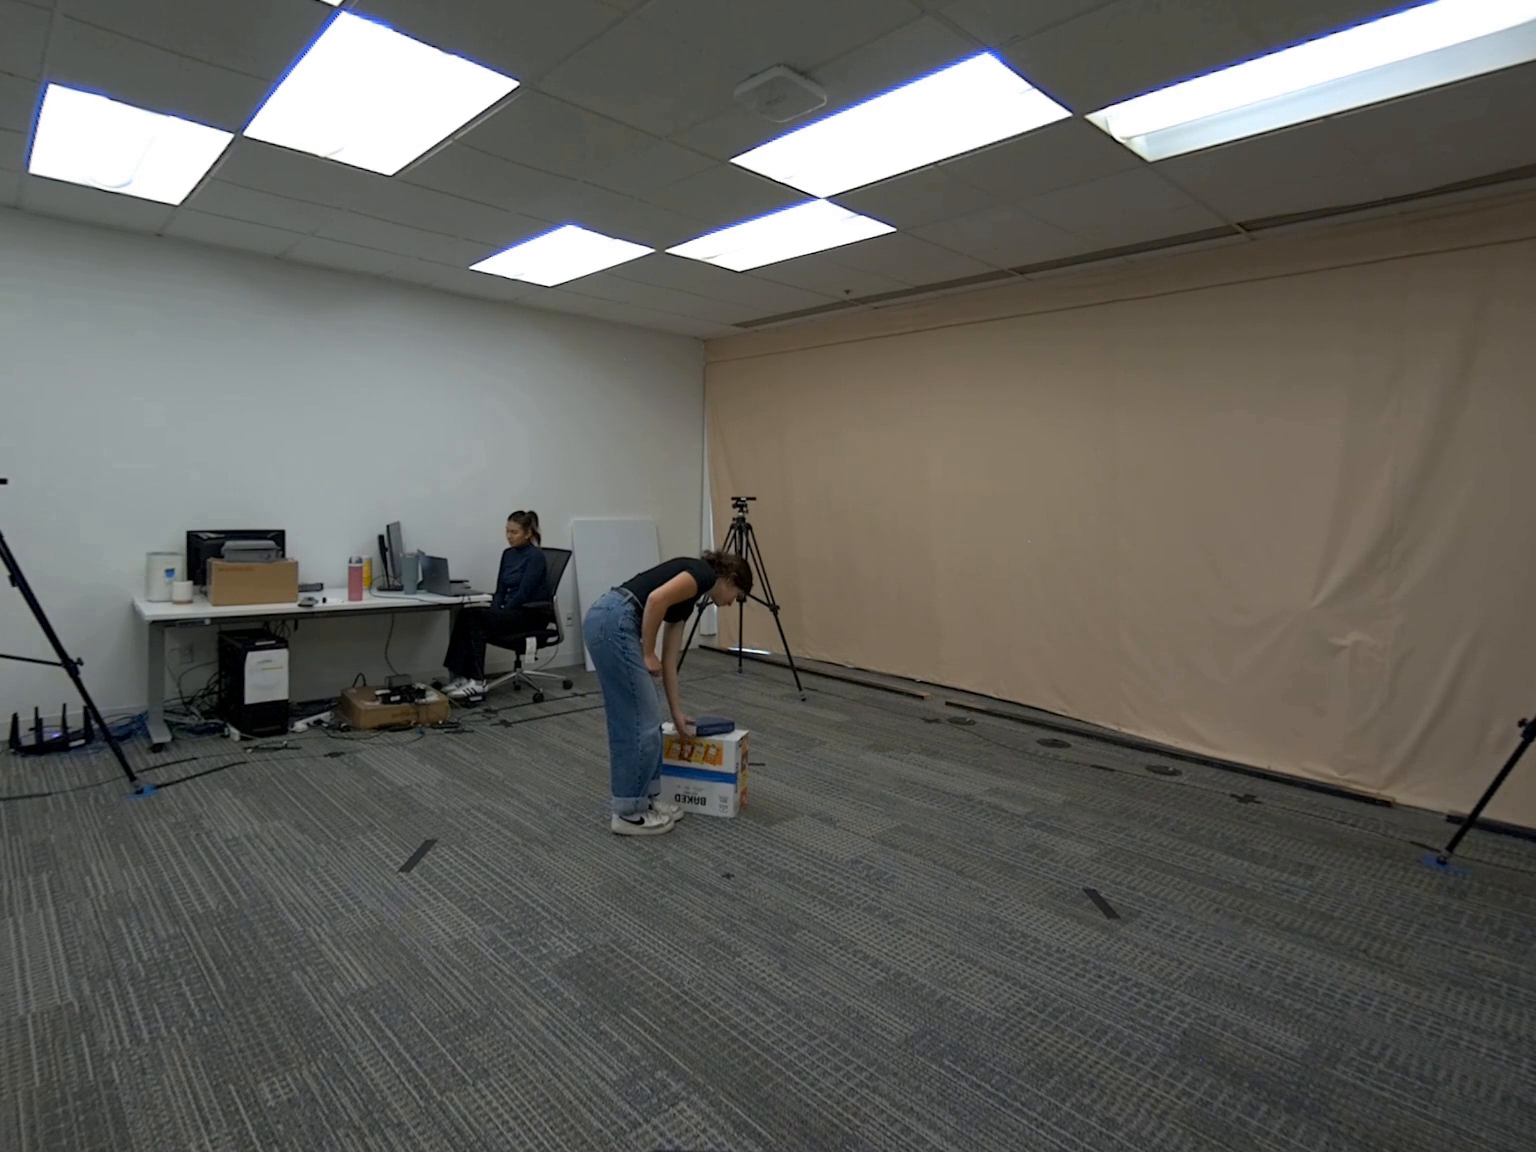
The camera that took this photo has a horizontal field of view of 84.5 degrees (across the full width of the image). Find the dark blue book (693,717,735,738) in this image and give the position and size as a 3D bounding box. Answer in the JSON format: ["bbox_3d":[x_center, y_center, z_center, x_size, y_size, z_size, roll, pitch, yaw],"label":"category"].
[{"bbox_3d":[-0.299,0.675,3.809,0.239,0.045,0.167,2,2,-43],"label":"dark blue book"}]
